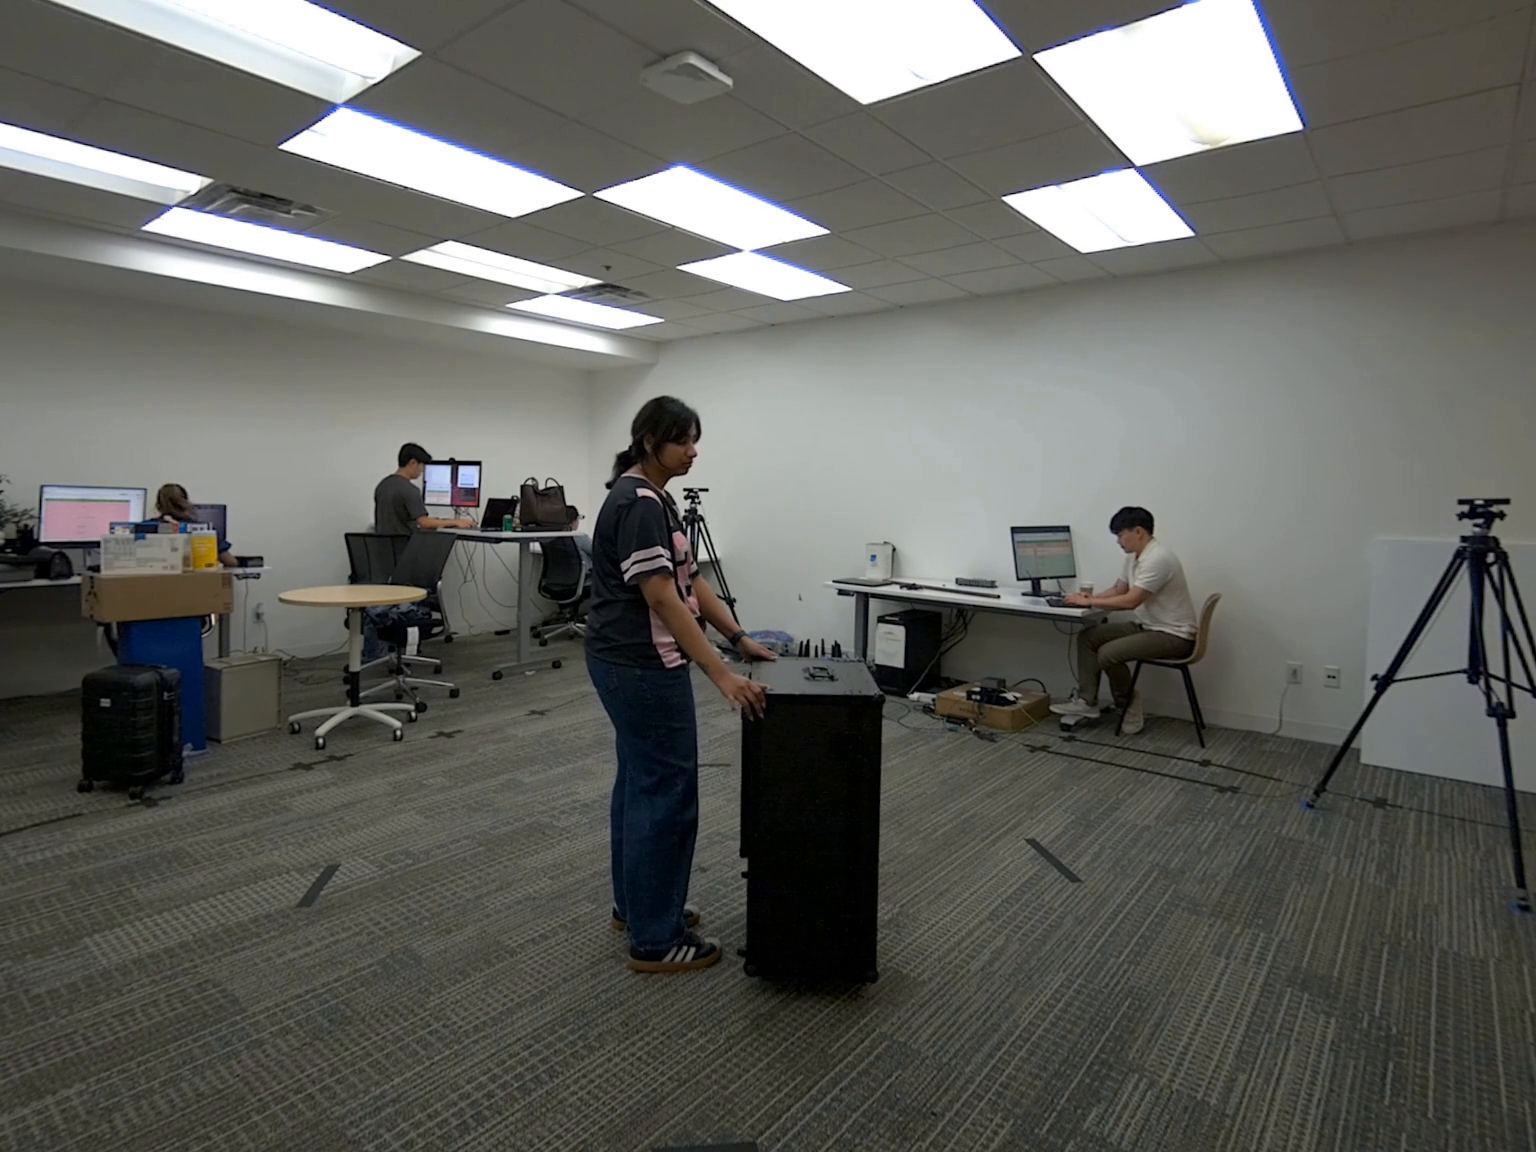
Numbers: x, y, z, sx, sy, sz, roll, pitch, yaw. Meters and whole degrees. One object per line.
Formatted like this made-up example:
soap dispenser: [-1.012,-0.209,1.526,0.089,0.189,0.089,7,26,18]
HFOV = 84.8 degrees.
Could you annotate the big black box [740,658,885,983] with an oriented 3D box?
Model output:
big black box: [0.110,0.715,2.506,0.386,0.866,0.524,1,3,1]
